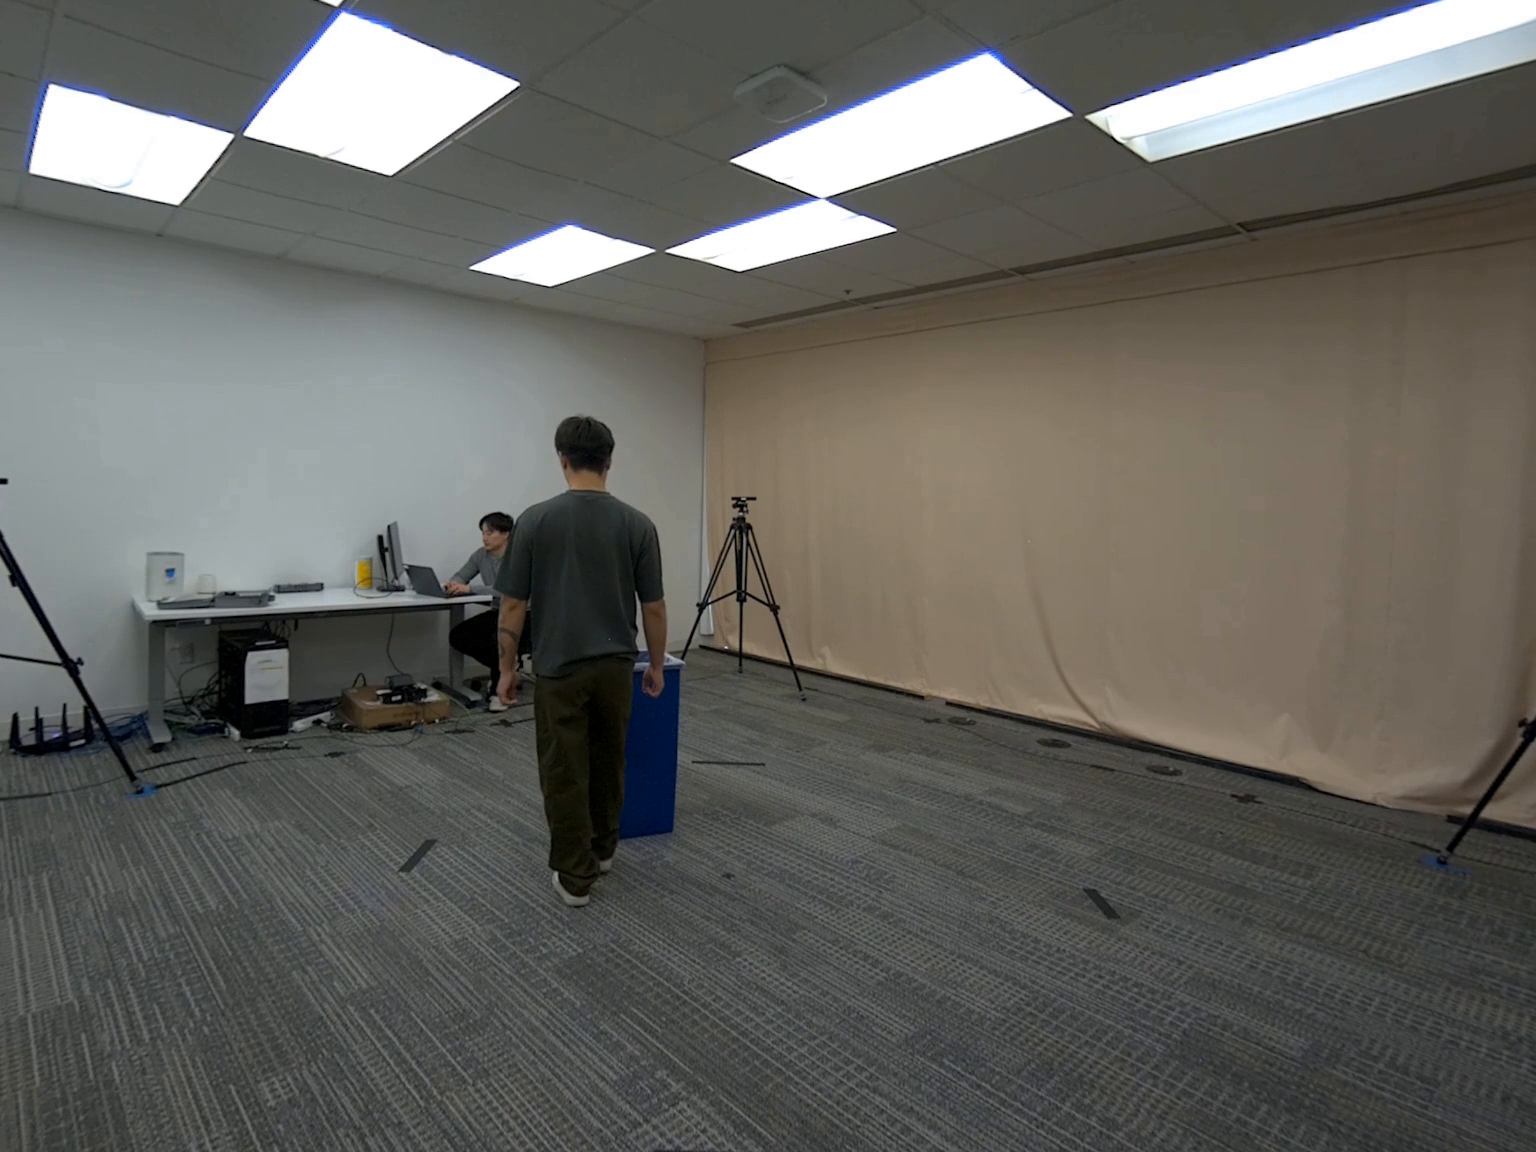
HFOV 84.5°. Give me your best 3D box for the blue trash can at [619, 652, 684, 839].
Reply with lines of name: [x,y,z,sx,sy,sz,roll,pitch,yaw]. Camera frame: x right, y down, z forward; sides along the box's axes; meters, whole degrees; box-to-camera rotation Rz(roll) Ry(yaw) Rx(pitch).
blue trash can: [-0.581,0.699,3.559,0.371,0.712,0.382,-1,3,-28]
